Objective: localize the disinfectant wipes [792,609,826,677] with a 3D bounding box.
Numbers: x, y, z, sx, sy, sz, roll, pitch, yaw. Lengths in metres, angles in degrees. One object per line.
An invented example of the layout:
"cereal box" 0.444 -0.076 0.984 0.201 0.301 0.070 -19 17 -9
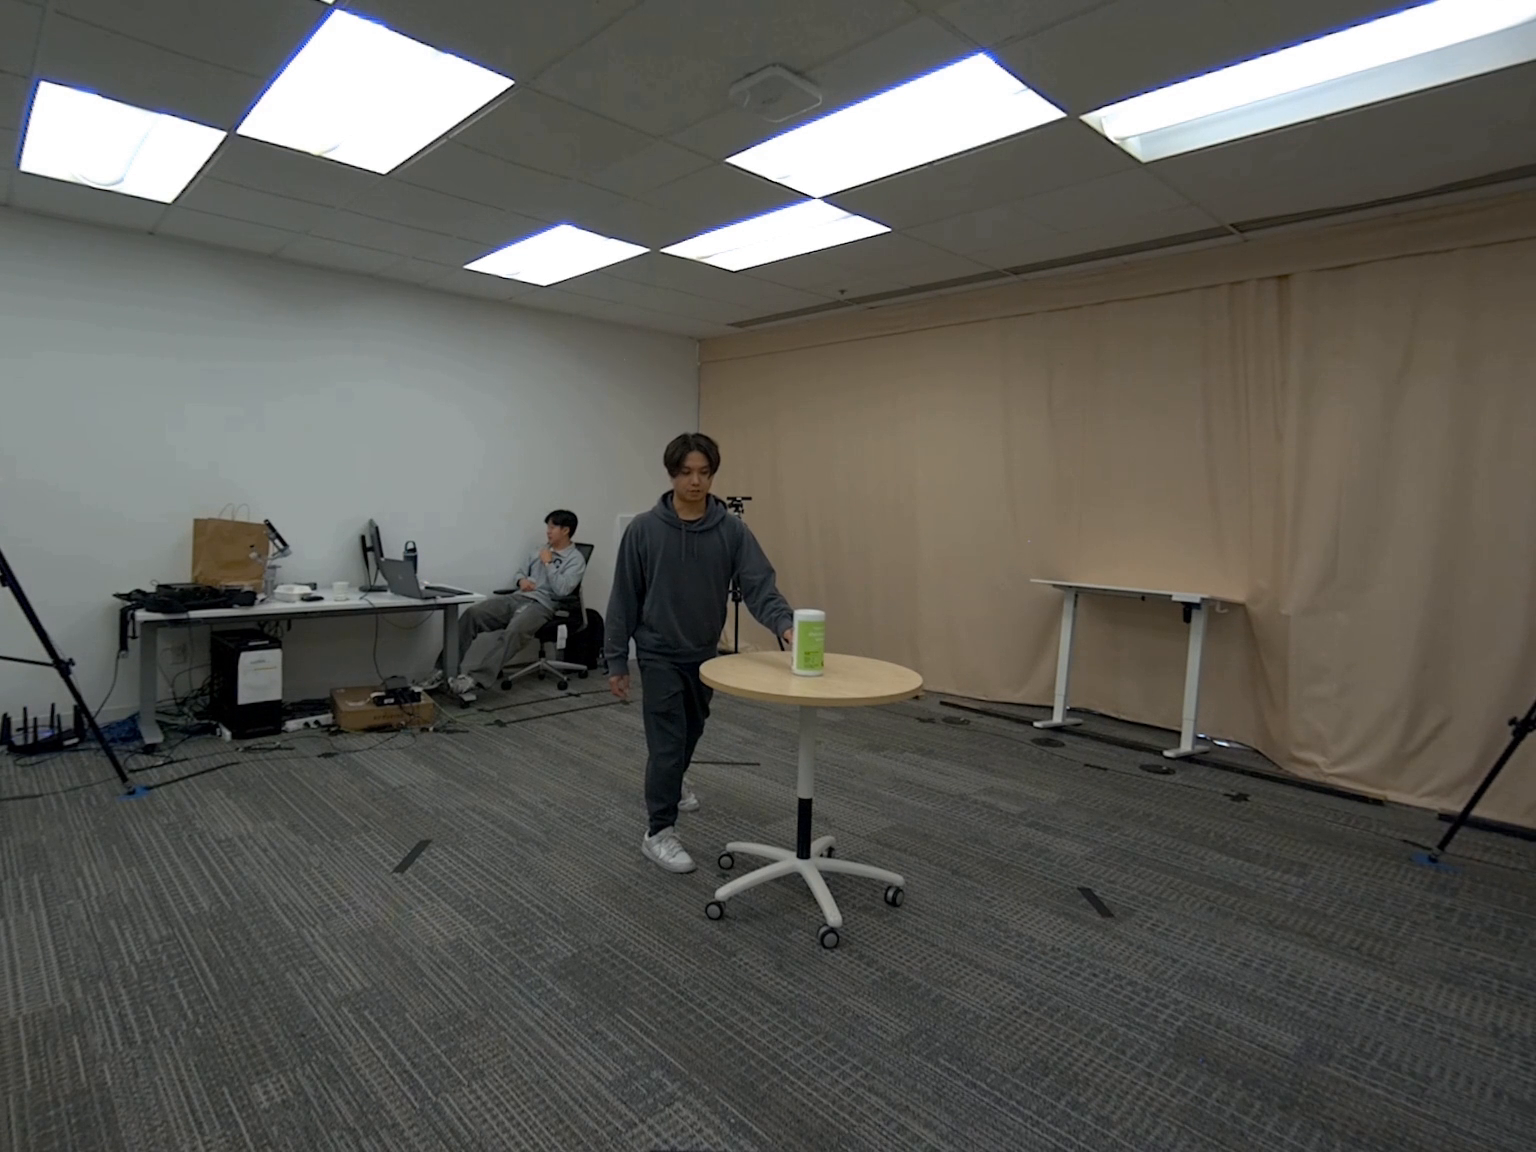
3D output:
"disinfectant wipes" 0.128 0.229 2.880 0.118 0.217 0.118 3 4 -2
